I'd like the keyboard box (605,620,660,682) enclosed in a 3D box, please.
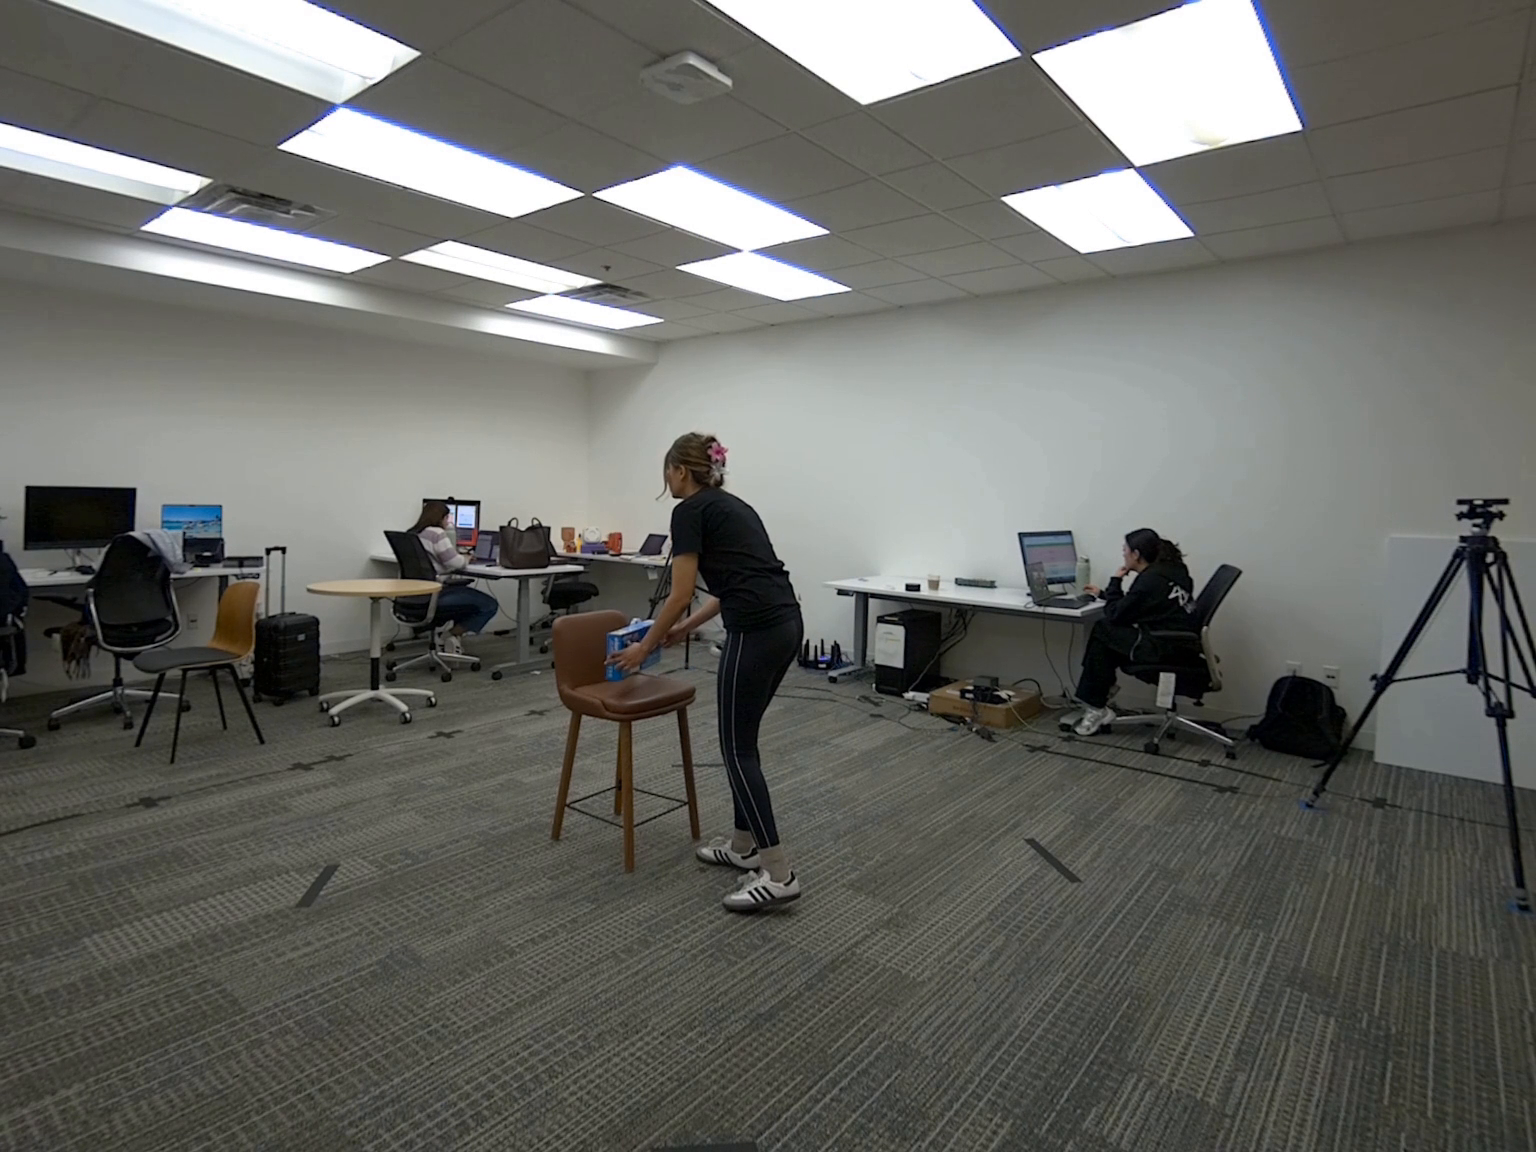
[{"bbox_3d":[-0.535,0.280,3.335,0.060,0.175,0.431,3,4,11],"label":"keyboard box"}]
